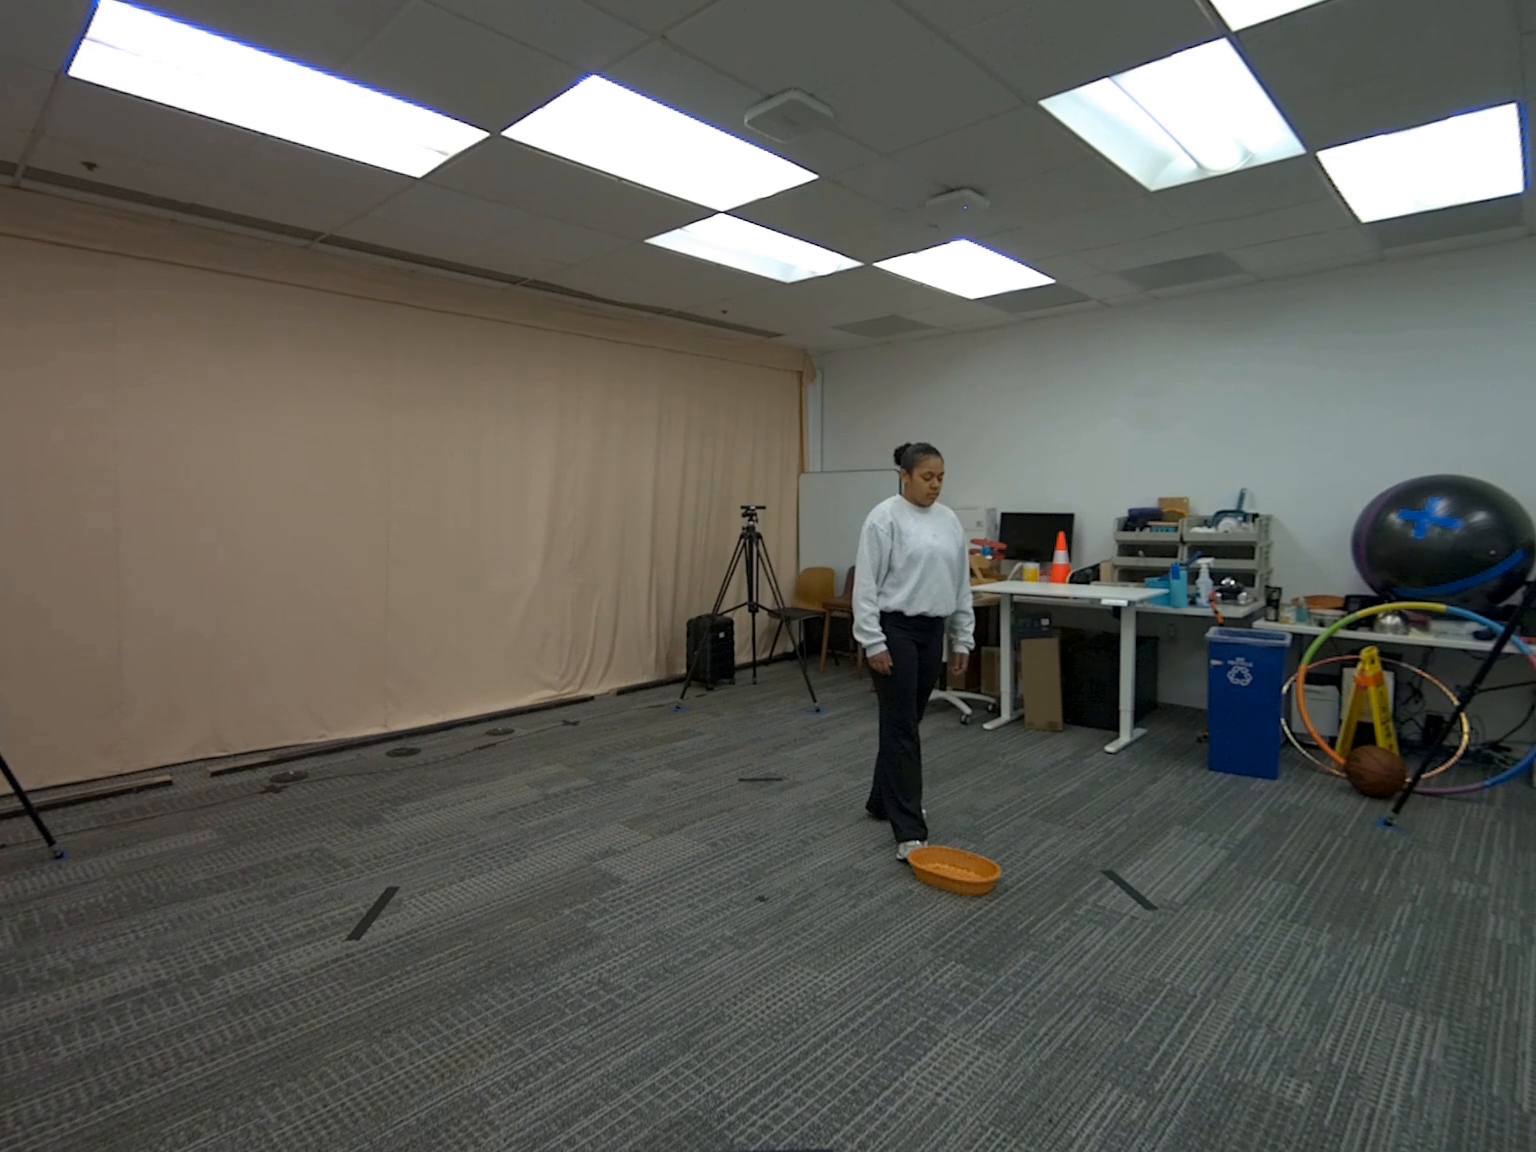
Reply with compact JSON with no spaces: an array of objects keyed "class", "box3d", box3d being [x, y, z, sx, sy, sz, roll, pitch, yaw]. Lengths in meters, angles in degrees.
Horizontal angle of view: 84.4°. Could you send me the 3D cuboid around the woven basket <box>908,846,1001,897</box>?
[{"class":"woven basket","box3d":[0.680,1.086,3.116,0.245,0.073,0.362,-5,5,-43]}]
